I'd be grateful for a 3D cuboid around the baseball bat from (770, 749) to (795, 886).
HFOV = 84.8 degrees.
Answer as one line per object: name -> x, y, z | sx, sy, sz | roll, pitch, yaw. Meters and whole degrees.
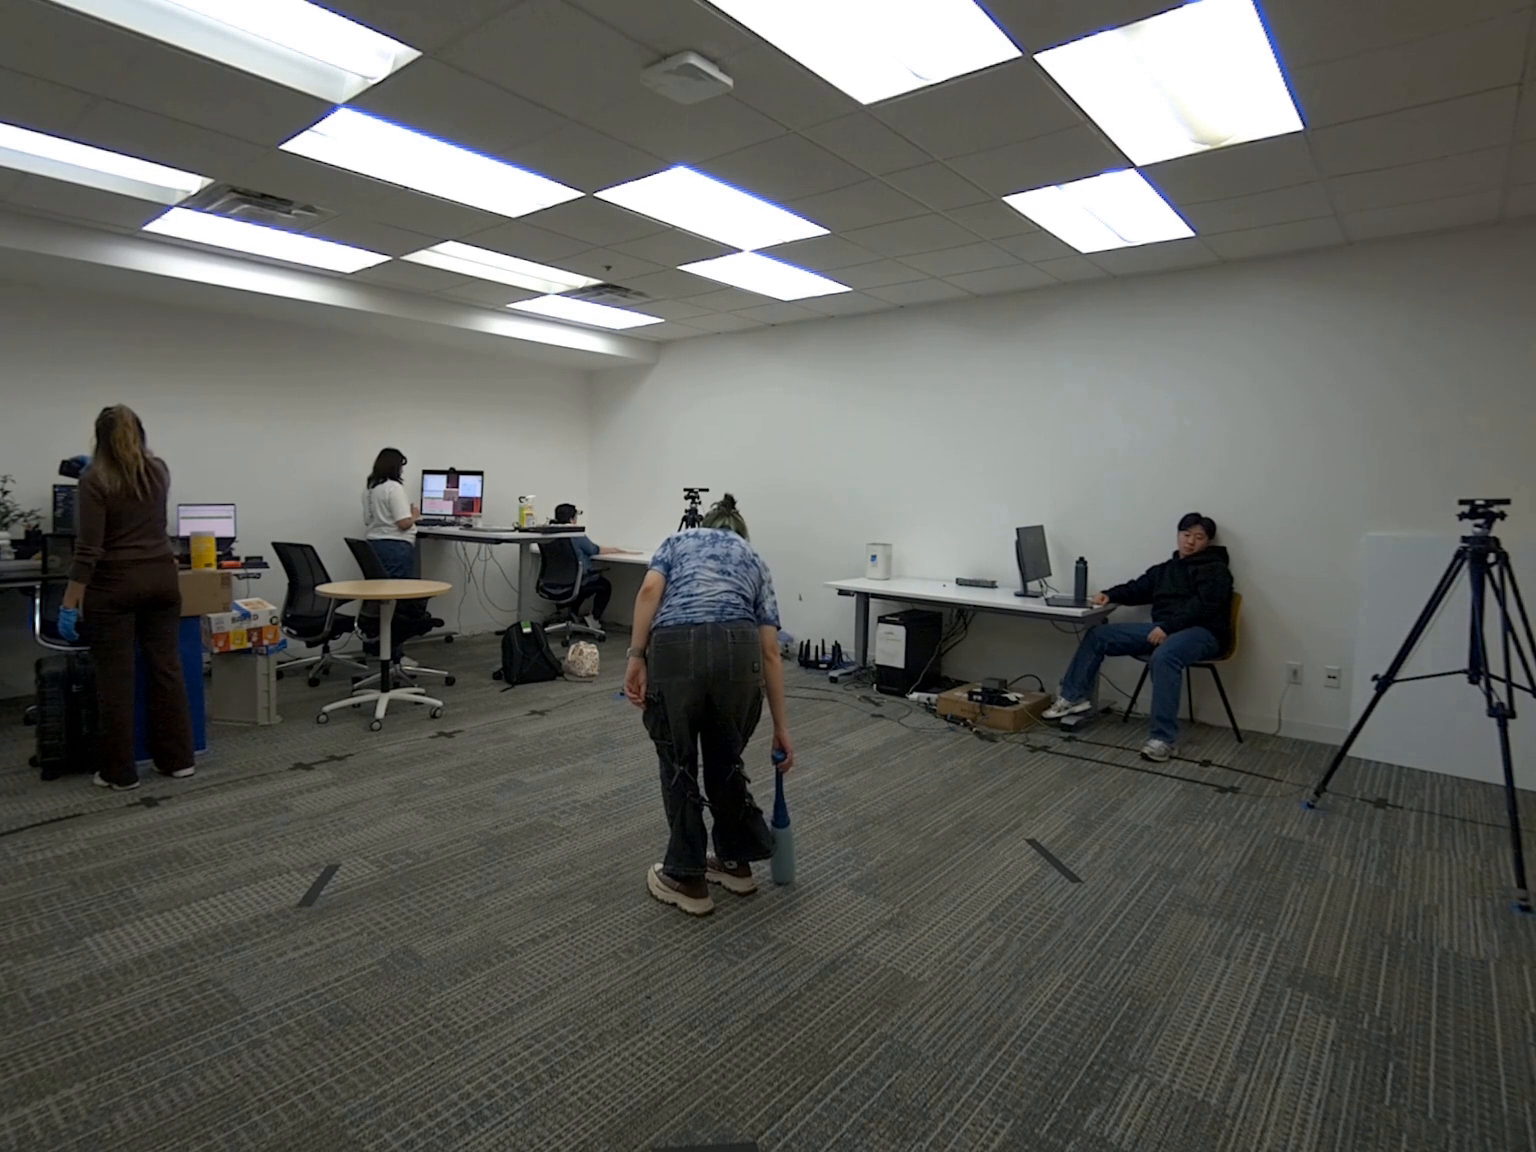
baseball bat -> 0.029, 0.838, 2.933 | 0.089, 0.531, 0.091 | -3, 24, -1
